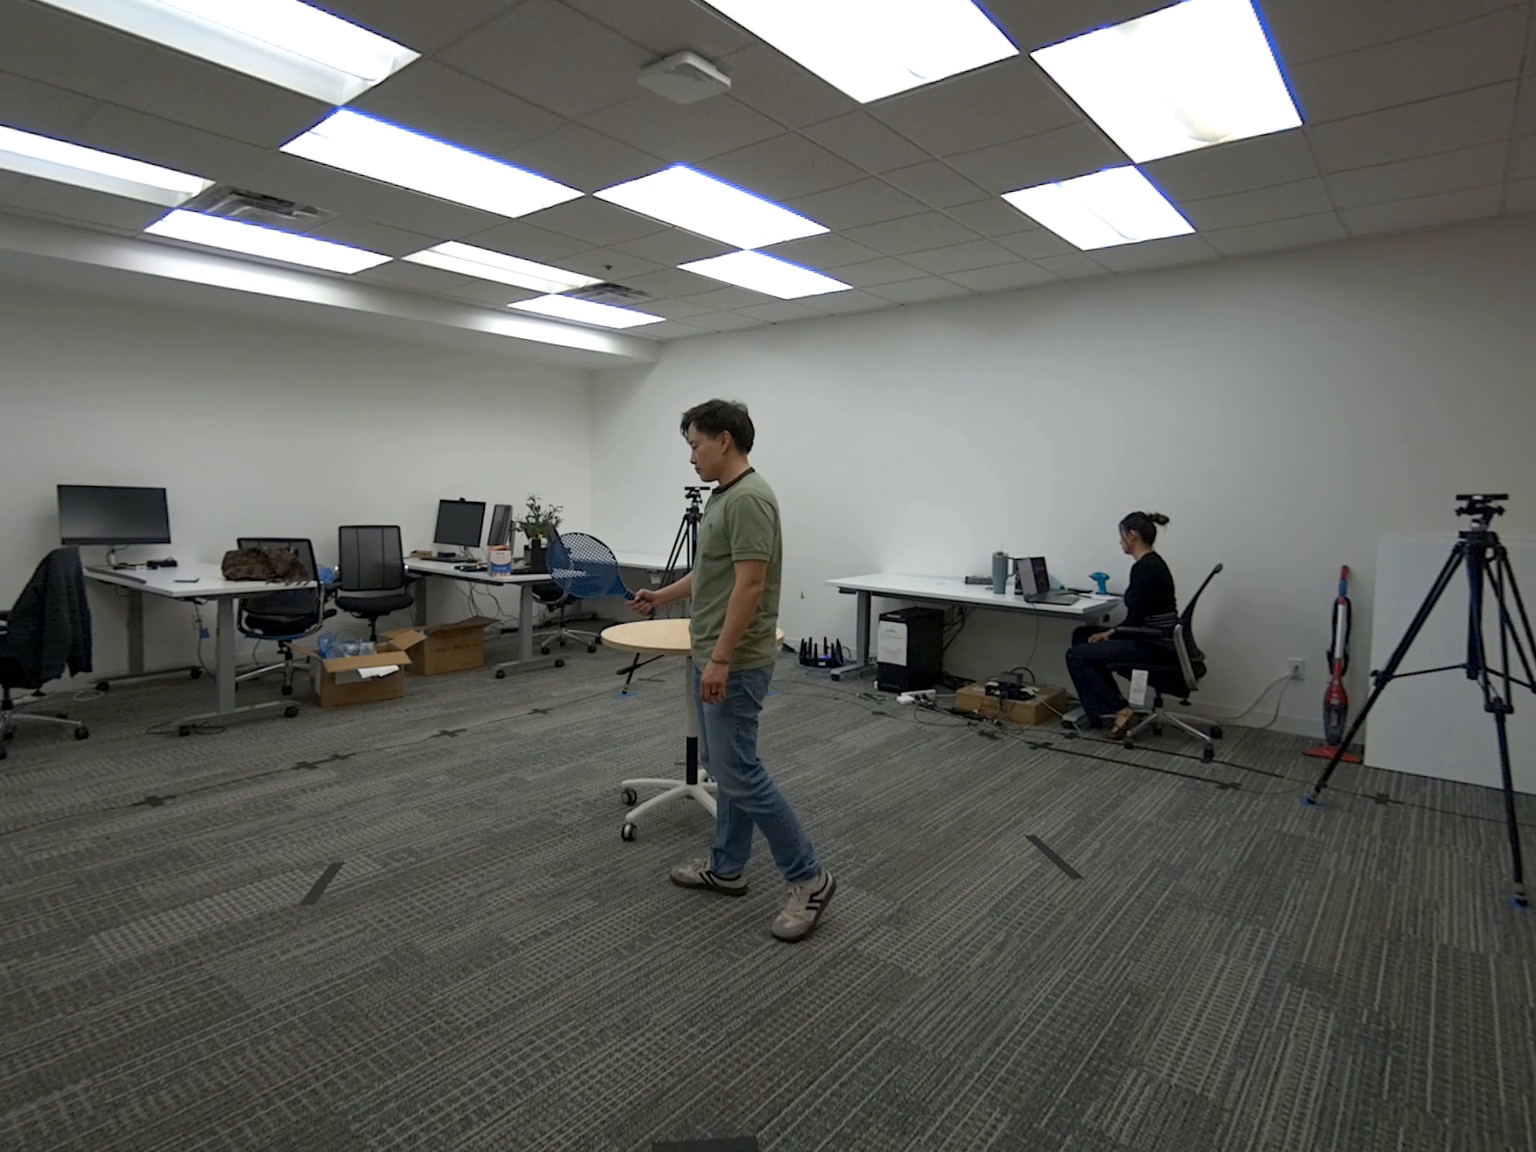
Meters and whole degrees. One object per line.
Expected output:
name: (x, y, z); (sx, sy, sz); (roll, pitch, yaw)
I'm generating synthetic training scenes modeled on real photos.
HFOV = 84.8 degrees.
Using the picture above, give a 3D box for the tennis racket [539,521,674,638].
tennis racket: (-0.566, 0.010, 2.965); (0.433, 0.213, 0.032); (31, 2, 0)
